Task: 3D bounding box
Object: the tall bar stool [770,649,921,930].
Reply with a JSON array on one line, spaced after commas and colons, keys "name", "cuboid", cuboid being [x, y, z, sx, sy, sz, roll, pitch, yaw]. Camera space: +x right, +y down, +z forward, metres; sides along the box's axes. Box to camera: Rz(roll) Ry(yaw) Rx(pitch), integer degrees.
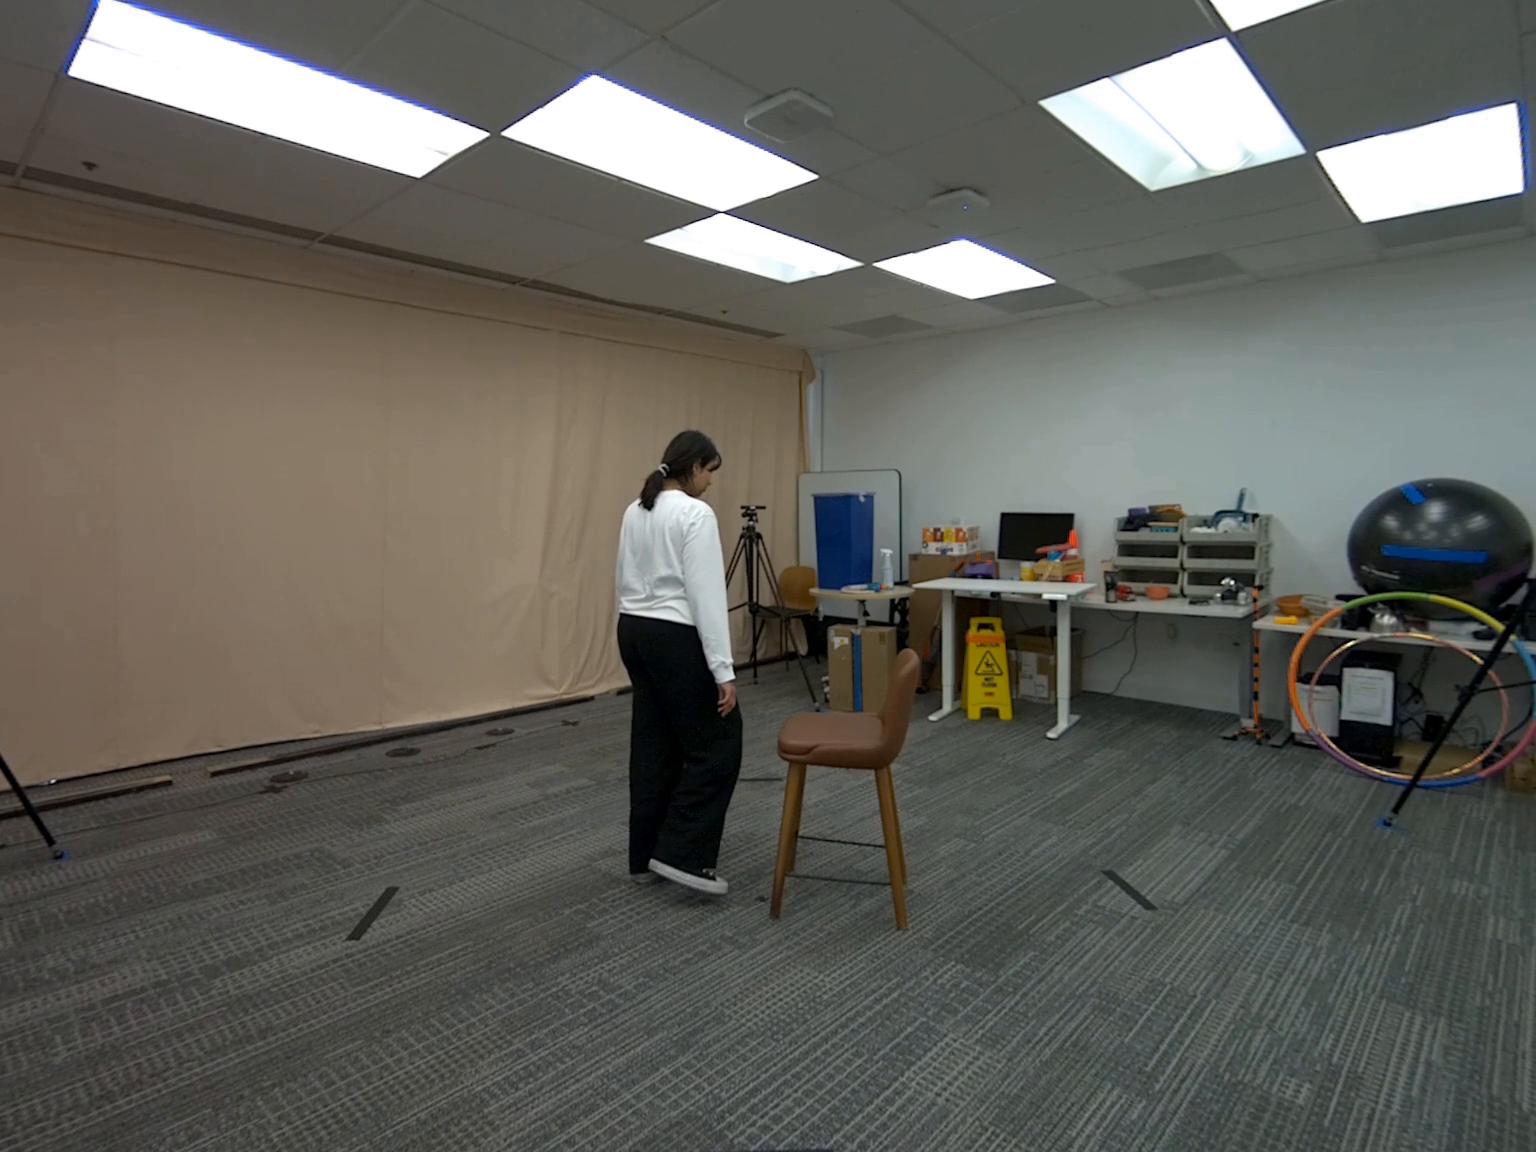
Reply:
[{"name": "tall bar stool", "cuboid": [0.271, 0.709, 2.958, 0.474, 0.888, 0.451, 3, 4, 12]}]
